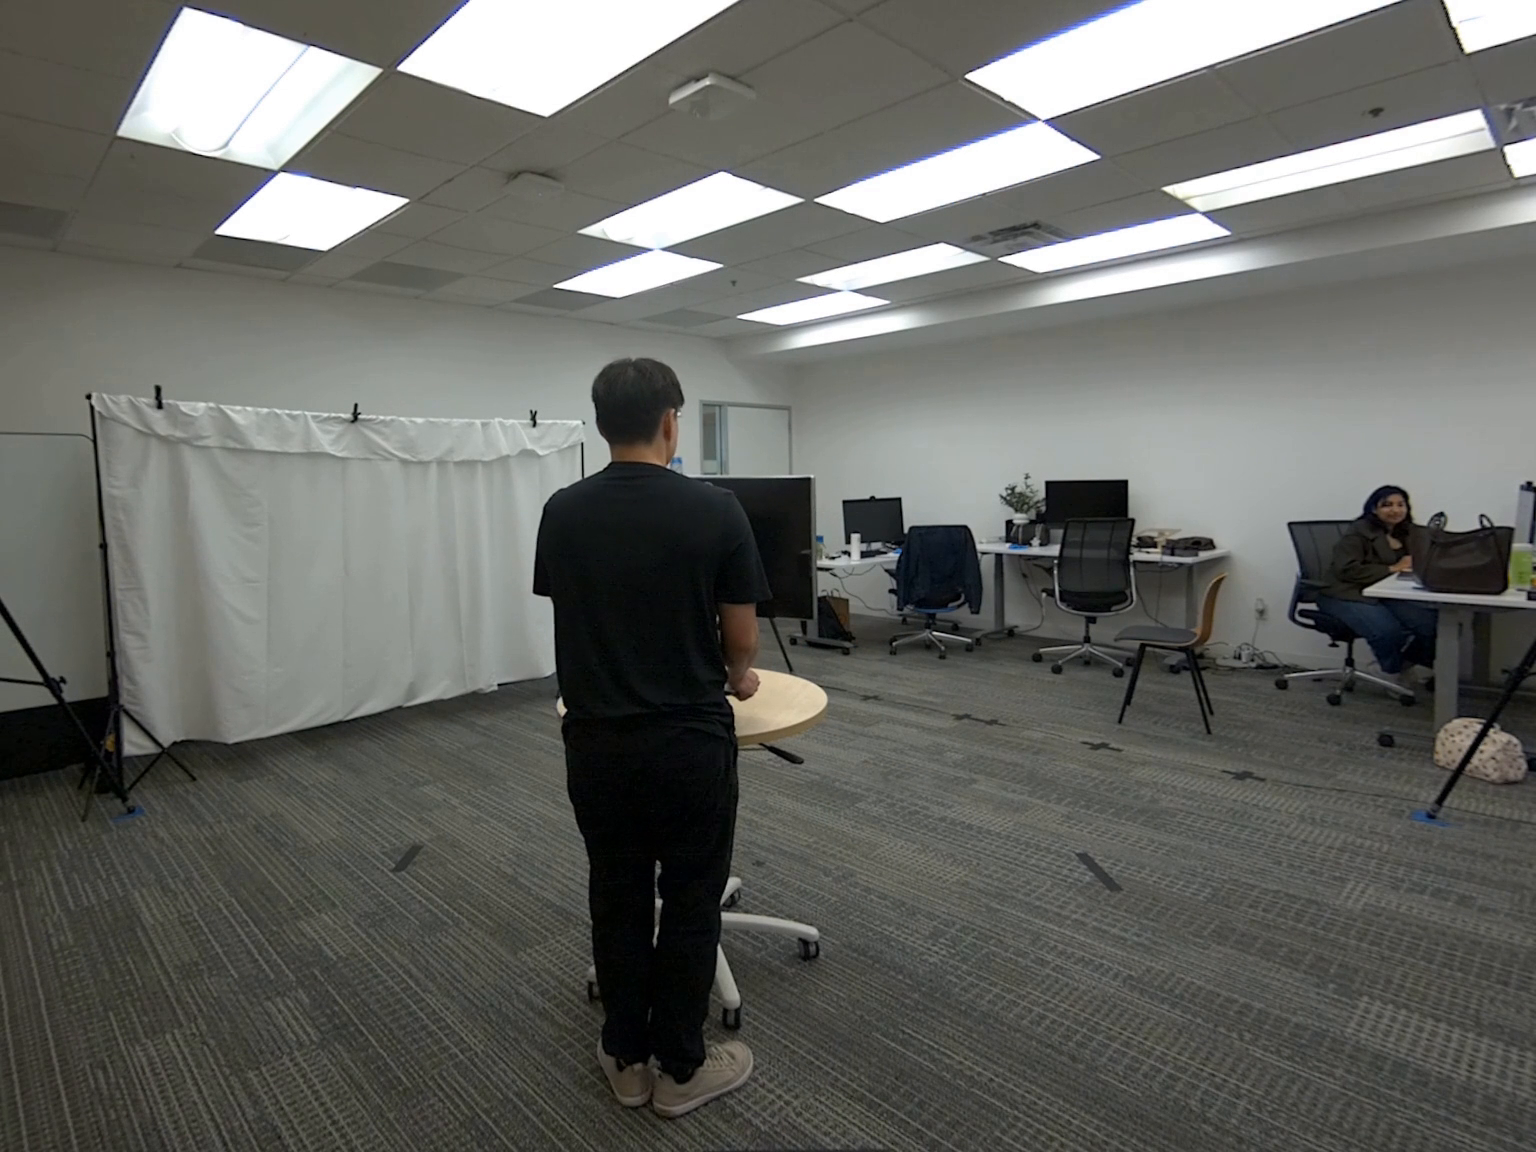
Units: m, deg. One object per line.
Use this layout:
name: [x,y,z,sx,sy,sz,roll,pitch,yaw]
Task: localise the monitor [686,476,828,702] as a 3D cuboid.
monitor: [-0.147,0.015,2.188,0.550,0.523,0.183,2,-1,22]
